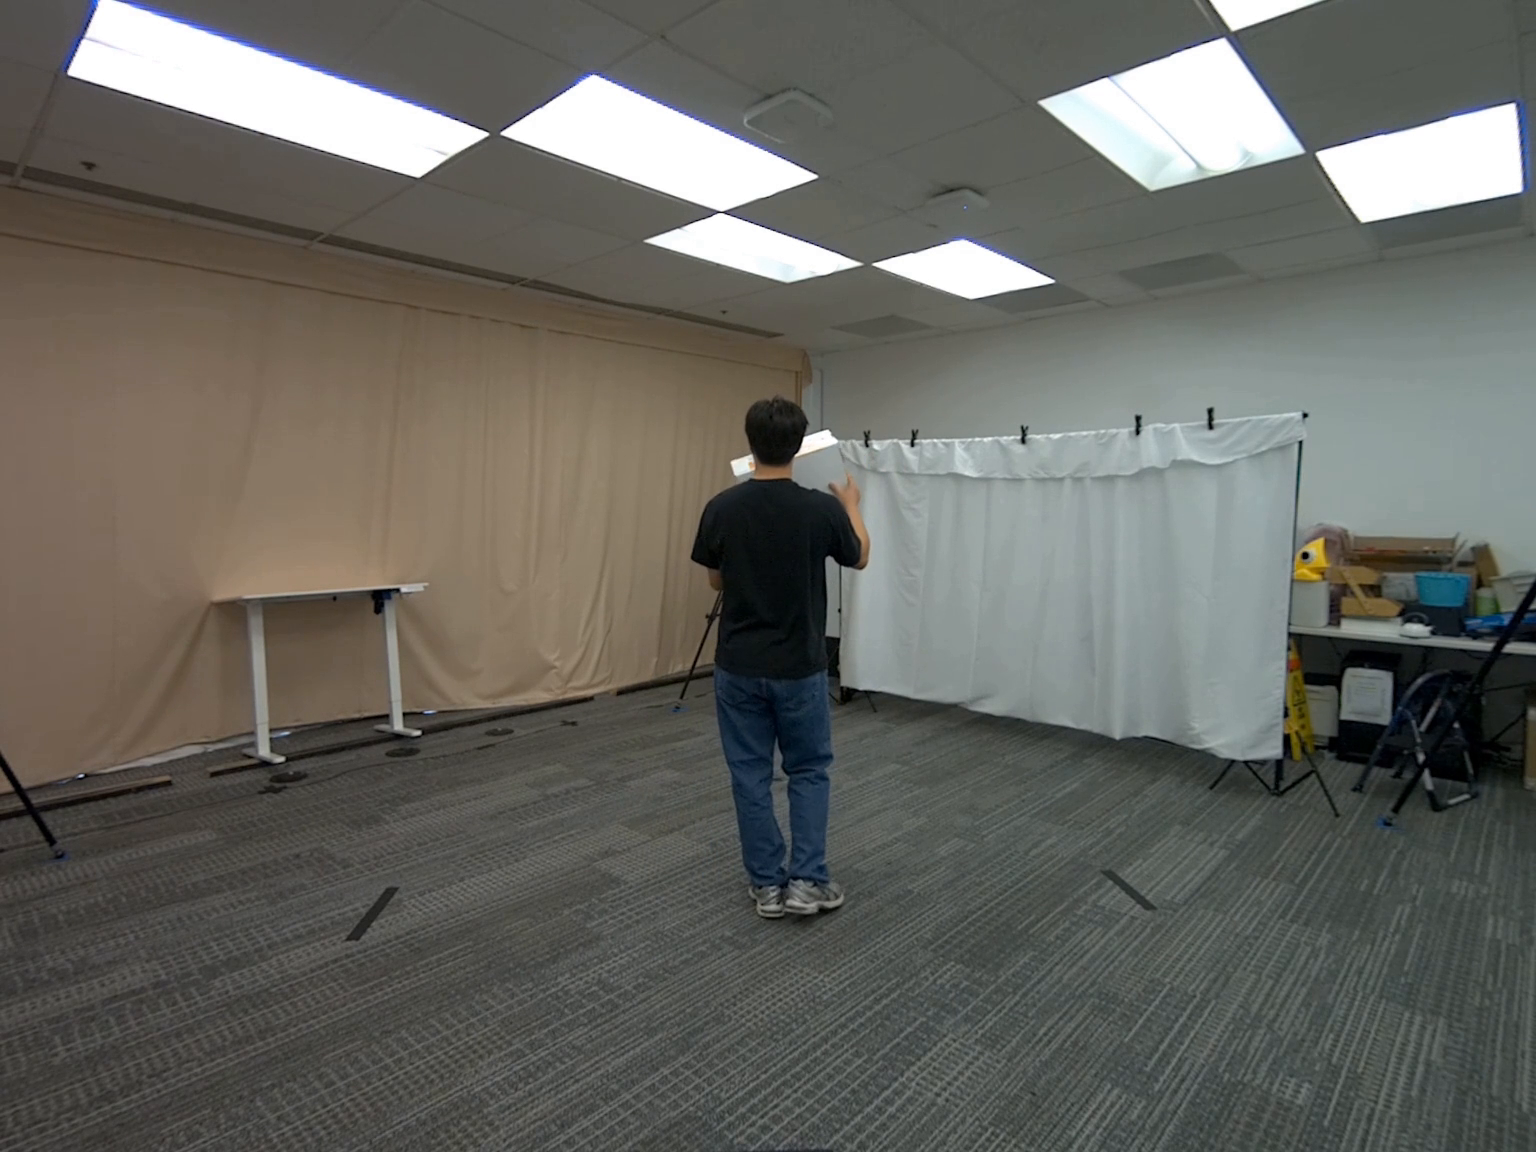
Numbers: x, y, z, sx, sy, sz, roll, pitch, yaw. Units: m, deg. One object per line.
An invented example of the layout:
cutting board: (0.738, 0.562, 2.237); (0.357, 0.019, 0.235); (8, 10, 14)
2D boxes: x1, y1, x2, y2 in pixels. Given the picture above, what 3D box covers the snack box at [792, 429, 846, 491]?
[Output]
snack box: (0.107, -0.322, 3.274); (0.406, 0.334, 0.209); (-19, 21, 2)
